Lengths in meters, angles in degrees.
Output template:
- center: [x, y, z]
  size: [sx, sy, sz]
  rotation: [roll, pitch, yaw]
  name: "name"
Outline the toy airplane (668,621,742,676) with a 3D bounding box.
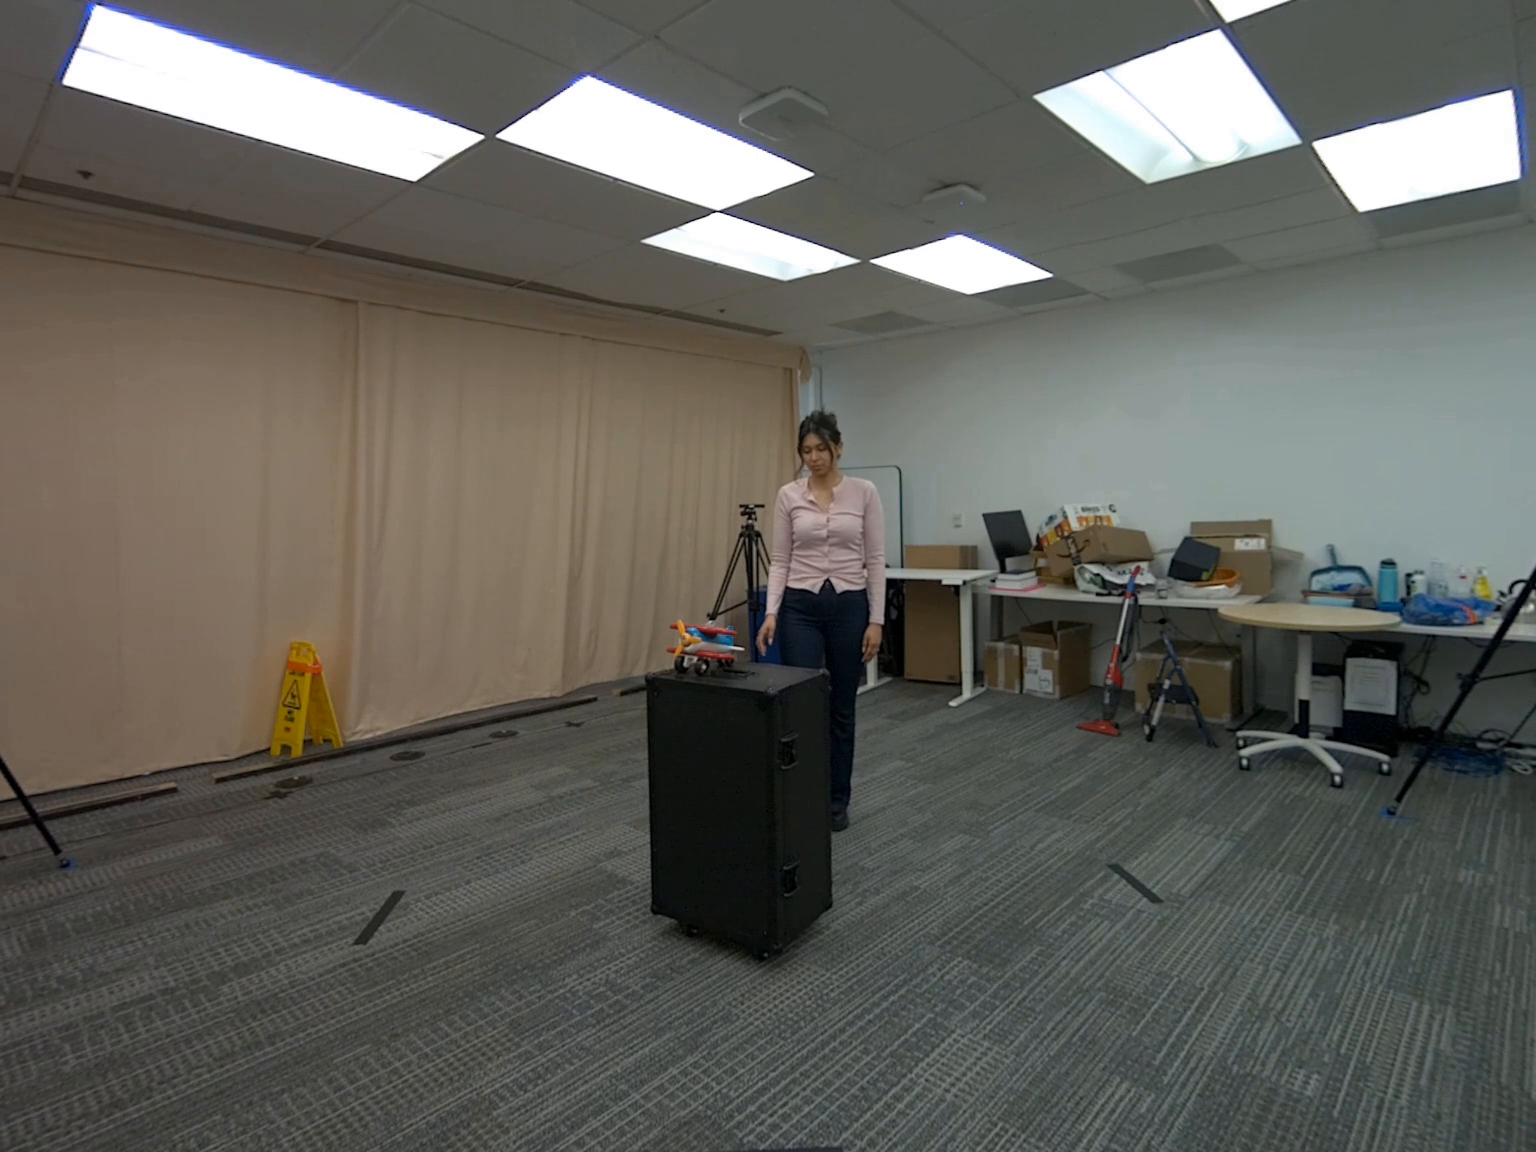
- center: [-0.210, 0.233, 2.785]
  size: [0.254, 0.156, 0.257]
  rotation: [0, 5, 10]
  name: "toy airplane"
